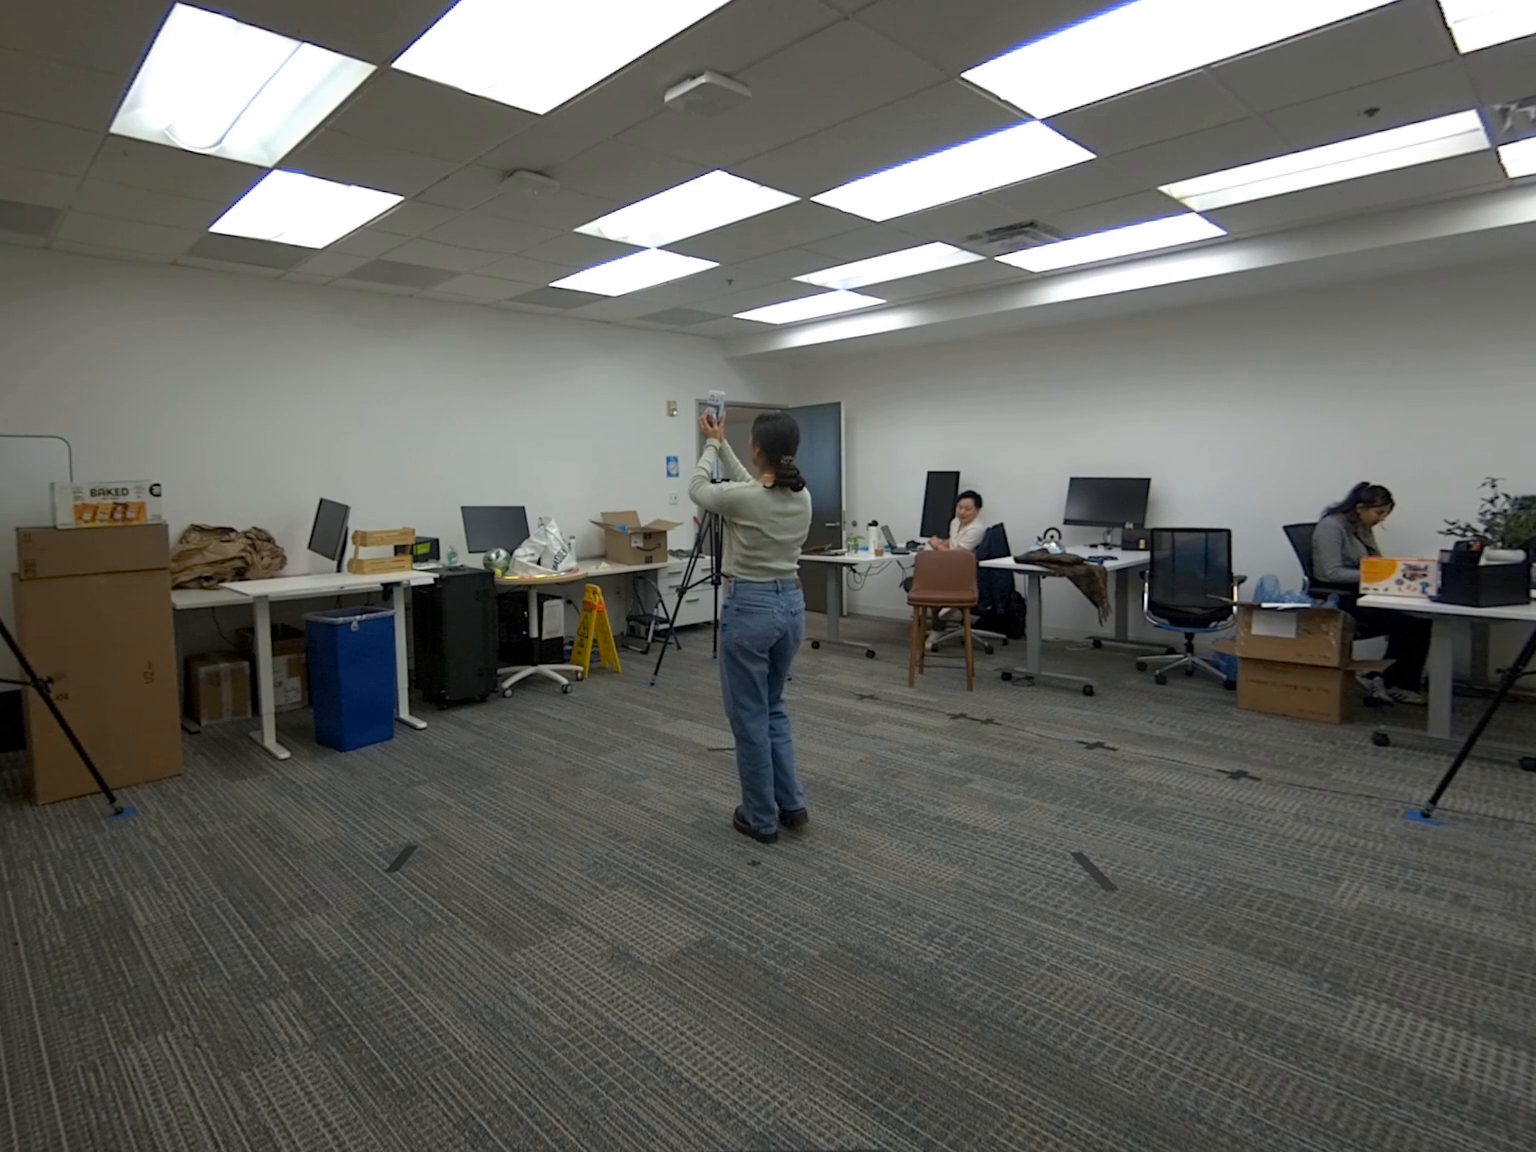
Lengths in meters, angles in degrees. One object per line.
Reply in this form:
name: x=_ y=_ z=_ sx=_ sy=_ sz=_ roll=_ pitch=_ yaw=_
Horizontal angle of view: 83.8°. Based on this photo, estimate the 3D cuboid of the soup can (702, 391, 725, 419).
soup can: x=-0.215 y=-0.698 z=3.506 sx=0.067 sy=0.120 sz=0.068 roll=6 pitch=12 yaw=-3
